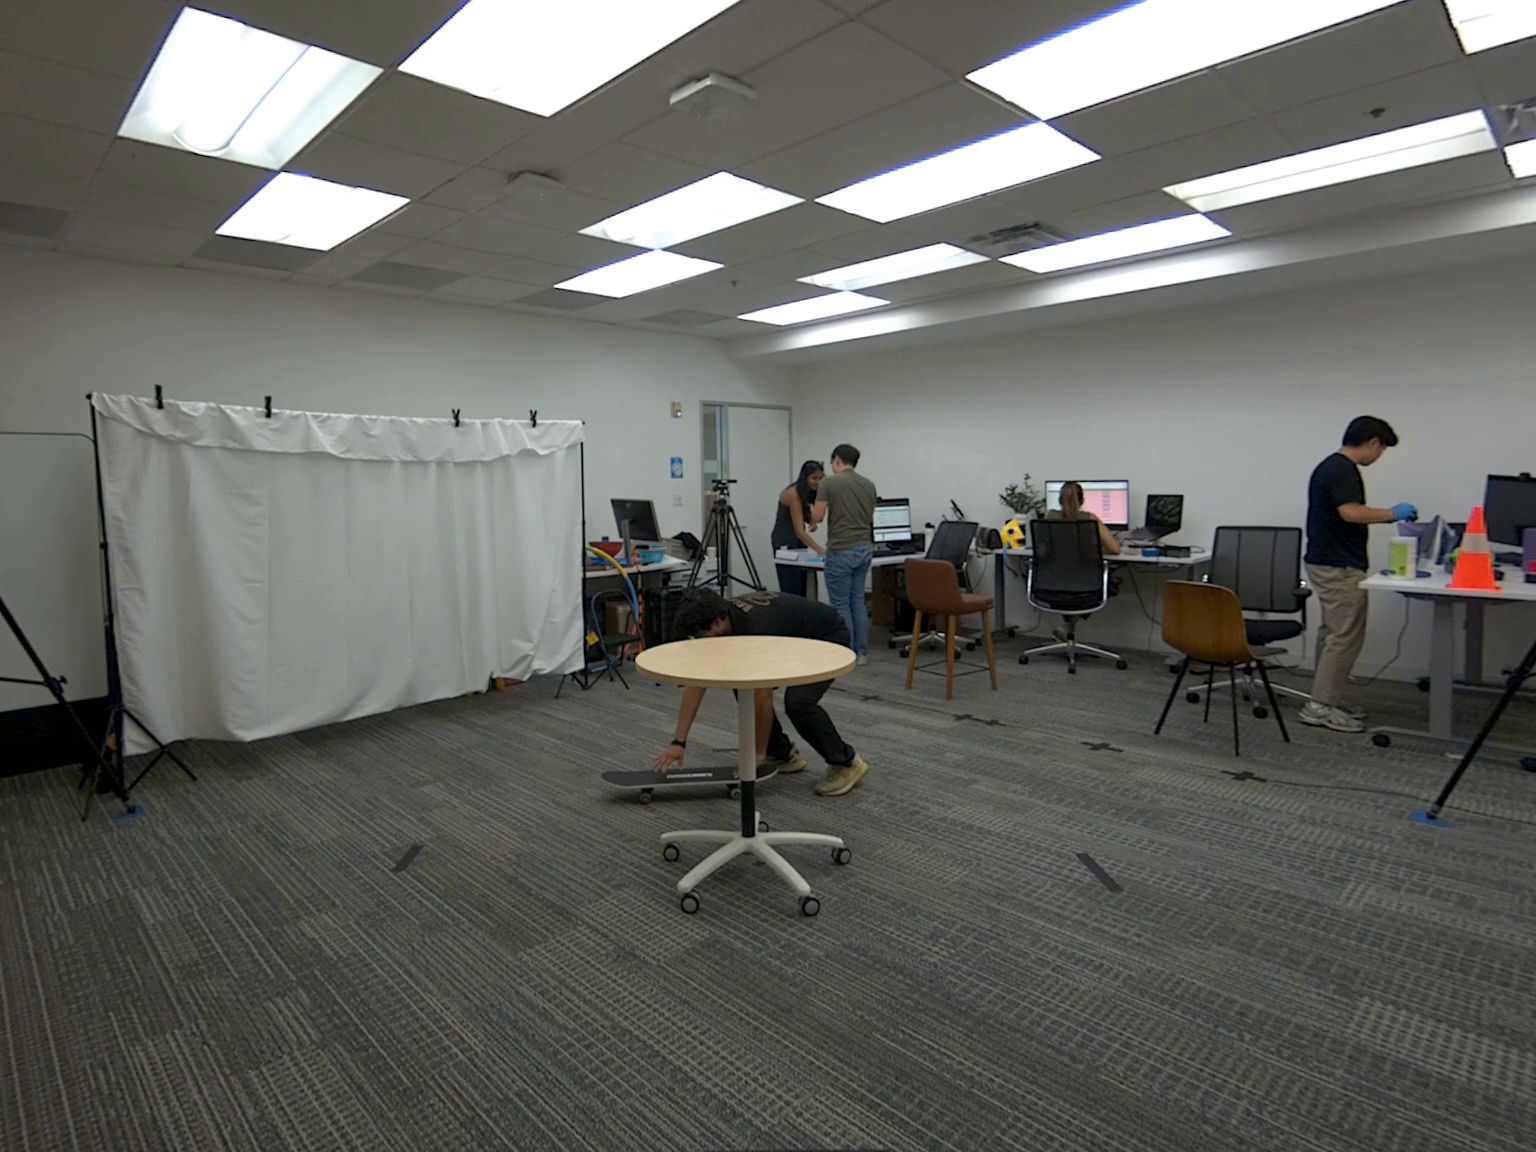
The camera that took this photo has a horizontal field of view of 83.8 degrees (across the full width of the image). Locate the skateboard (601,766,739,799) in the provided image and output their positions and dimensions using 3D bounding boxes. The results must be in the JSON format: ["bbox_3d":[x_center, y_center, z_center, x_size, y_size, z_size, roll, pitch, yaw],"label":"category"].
[{"bbox_3d":[-0.342,0.917,3.802,0.783,0.110,0.195,-2,7,-4],"label":"skateboard"}]
